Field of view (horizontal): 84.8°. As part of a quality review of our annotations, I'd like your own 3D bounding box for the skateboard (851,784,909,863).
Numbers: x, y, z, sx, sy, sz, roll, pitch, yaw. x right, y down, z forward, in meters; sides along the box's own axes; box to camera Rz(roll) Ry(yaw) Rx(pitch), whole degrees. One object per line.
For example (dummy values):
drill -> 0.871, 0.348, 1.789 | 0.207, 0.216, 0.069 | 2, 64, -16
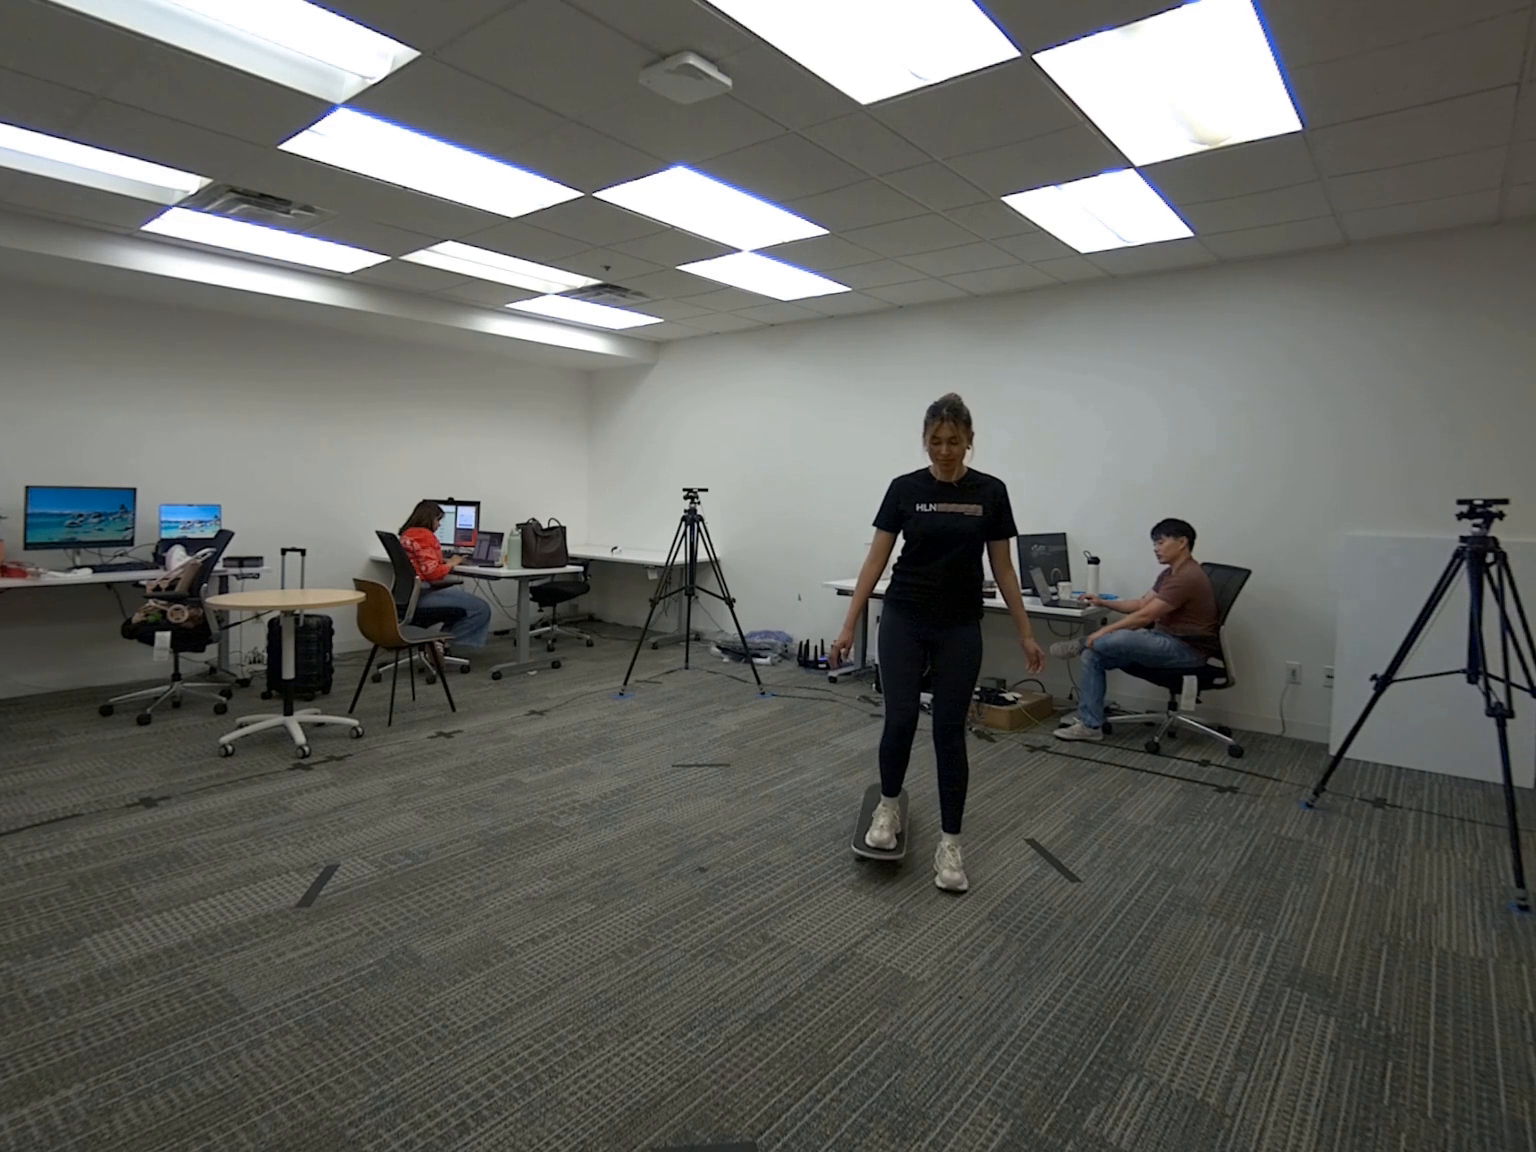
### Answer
skateboard -> 0.436, 0.991, 3.386 | 0.196, 0.110, 0.779 | 2, 7, 11
